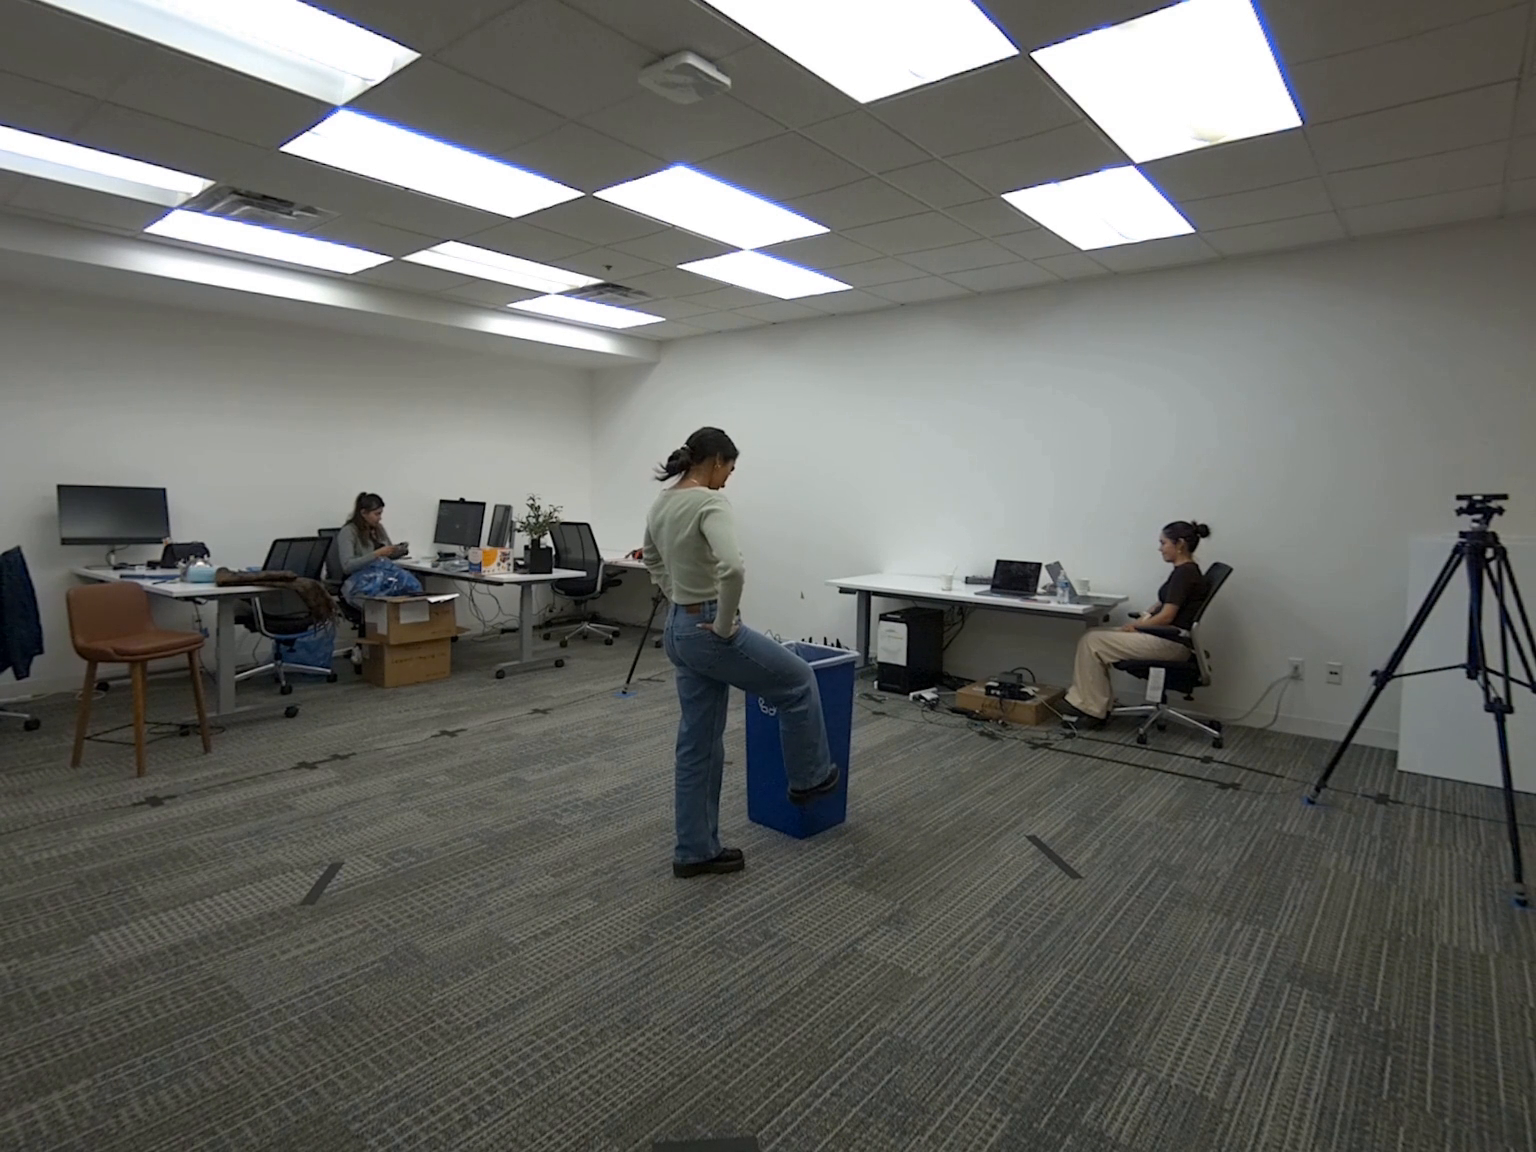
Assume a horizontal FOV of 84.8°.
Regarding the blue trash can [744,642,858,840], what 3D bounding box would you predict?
[{"bbox_3d":[0.120,0.668,3.558,0.391,0.712,0.362,4,4,43],"label":"blue trash can"}]
